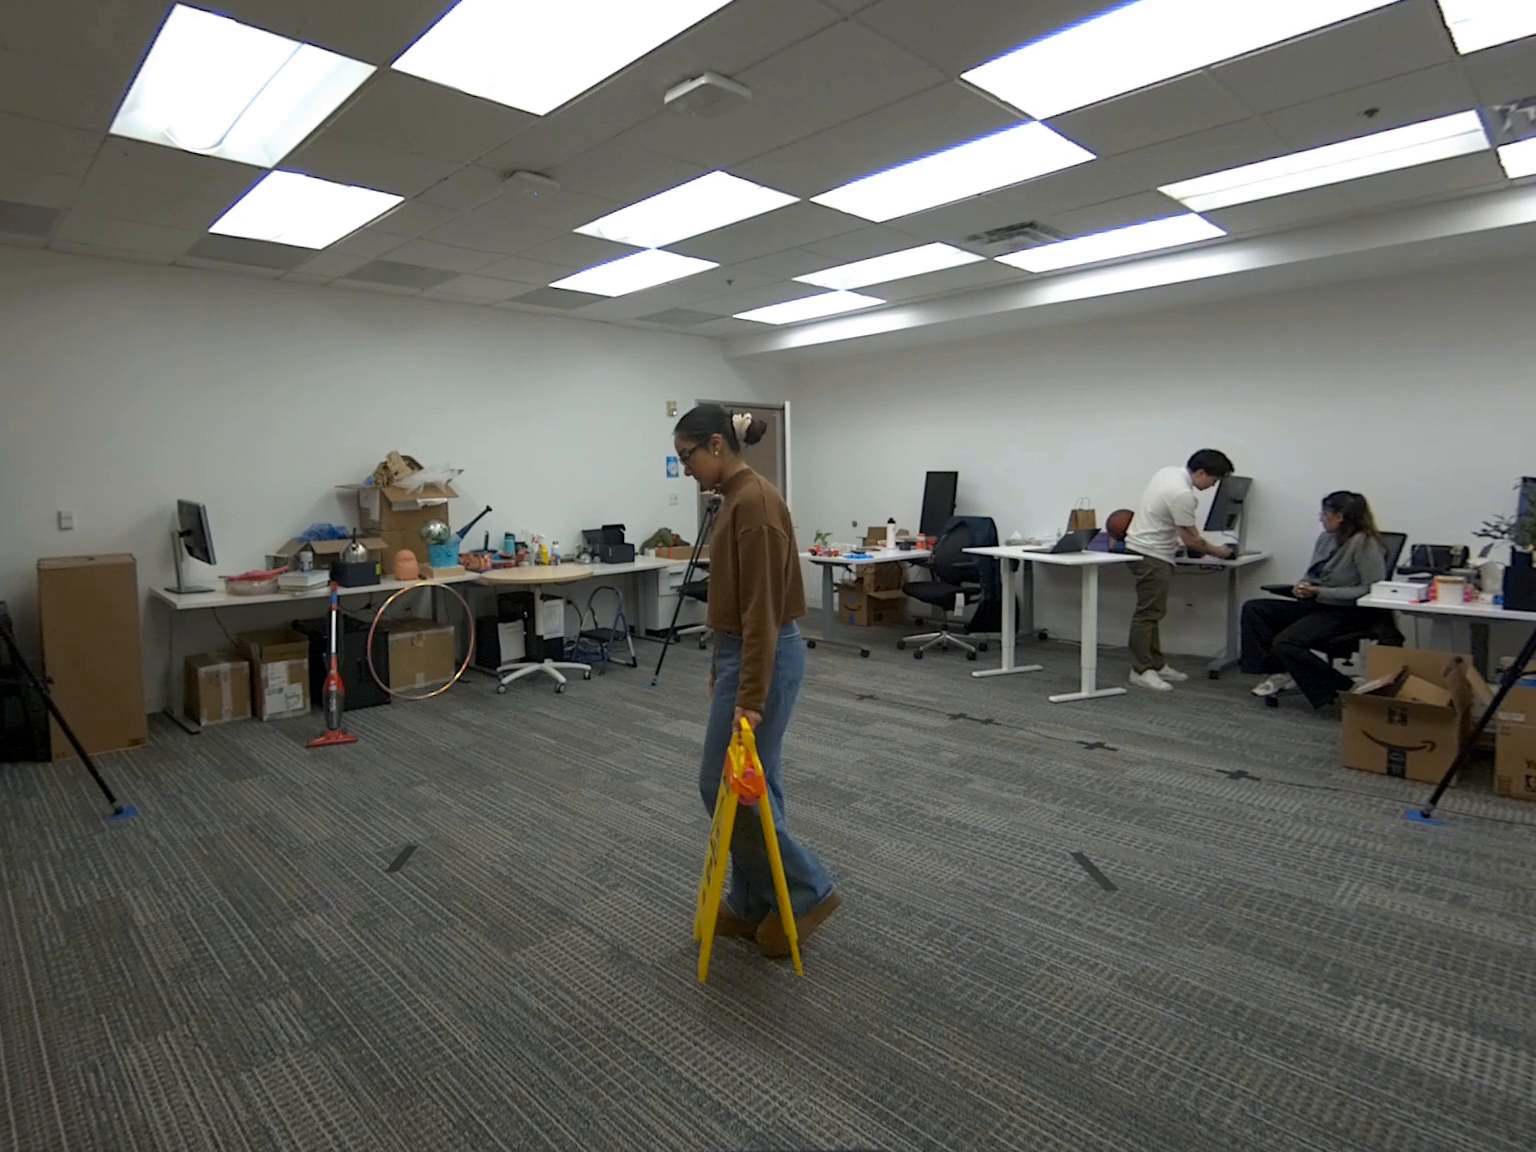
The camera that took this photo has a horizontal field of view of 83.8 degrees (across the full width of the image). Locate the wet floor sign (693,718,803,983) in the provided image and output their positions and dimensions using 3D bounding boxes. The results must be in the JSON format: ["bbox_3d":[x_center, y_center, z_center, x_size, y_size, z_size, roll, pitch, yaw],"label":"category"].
[{"bbox_3d":[-0.060,0.703,2.300,0.288,0.644,0.285,-1,4,-7],"label":"wet floor sign"}]
